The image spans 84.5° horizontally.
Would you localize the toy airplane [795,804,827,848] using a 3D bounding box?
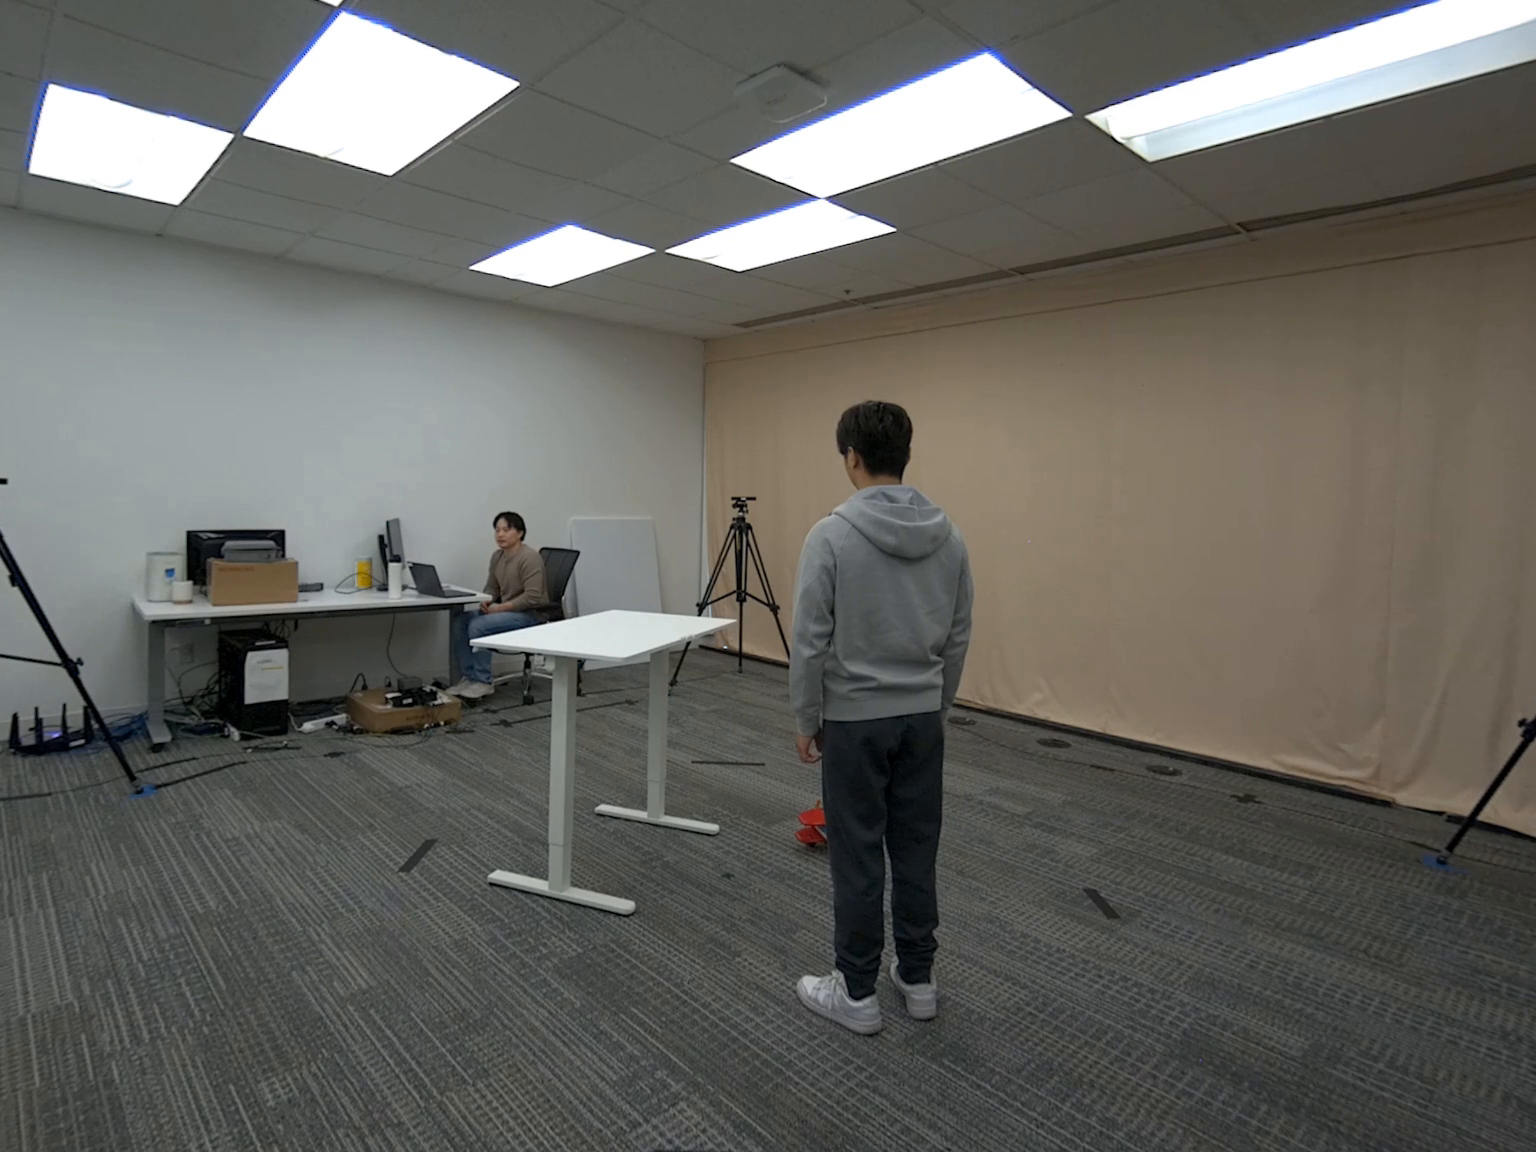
[{"bbox_3d":[0.257,1.021,3.350,0.265,0.156,0.245,2,3,37],"label":"toy airplane"}]
